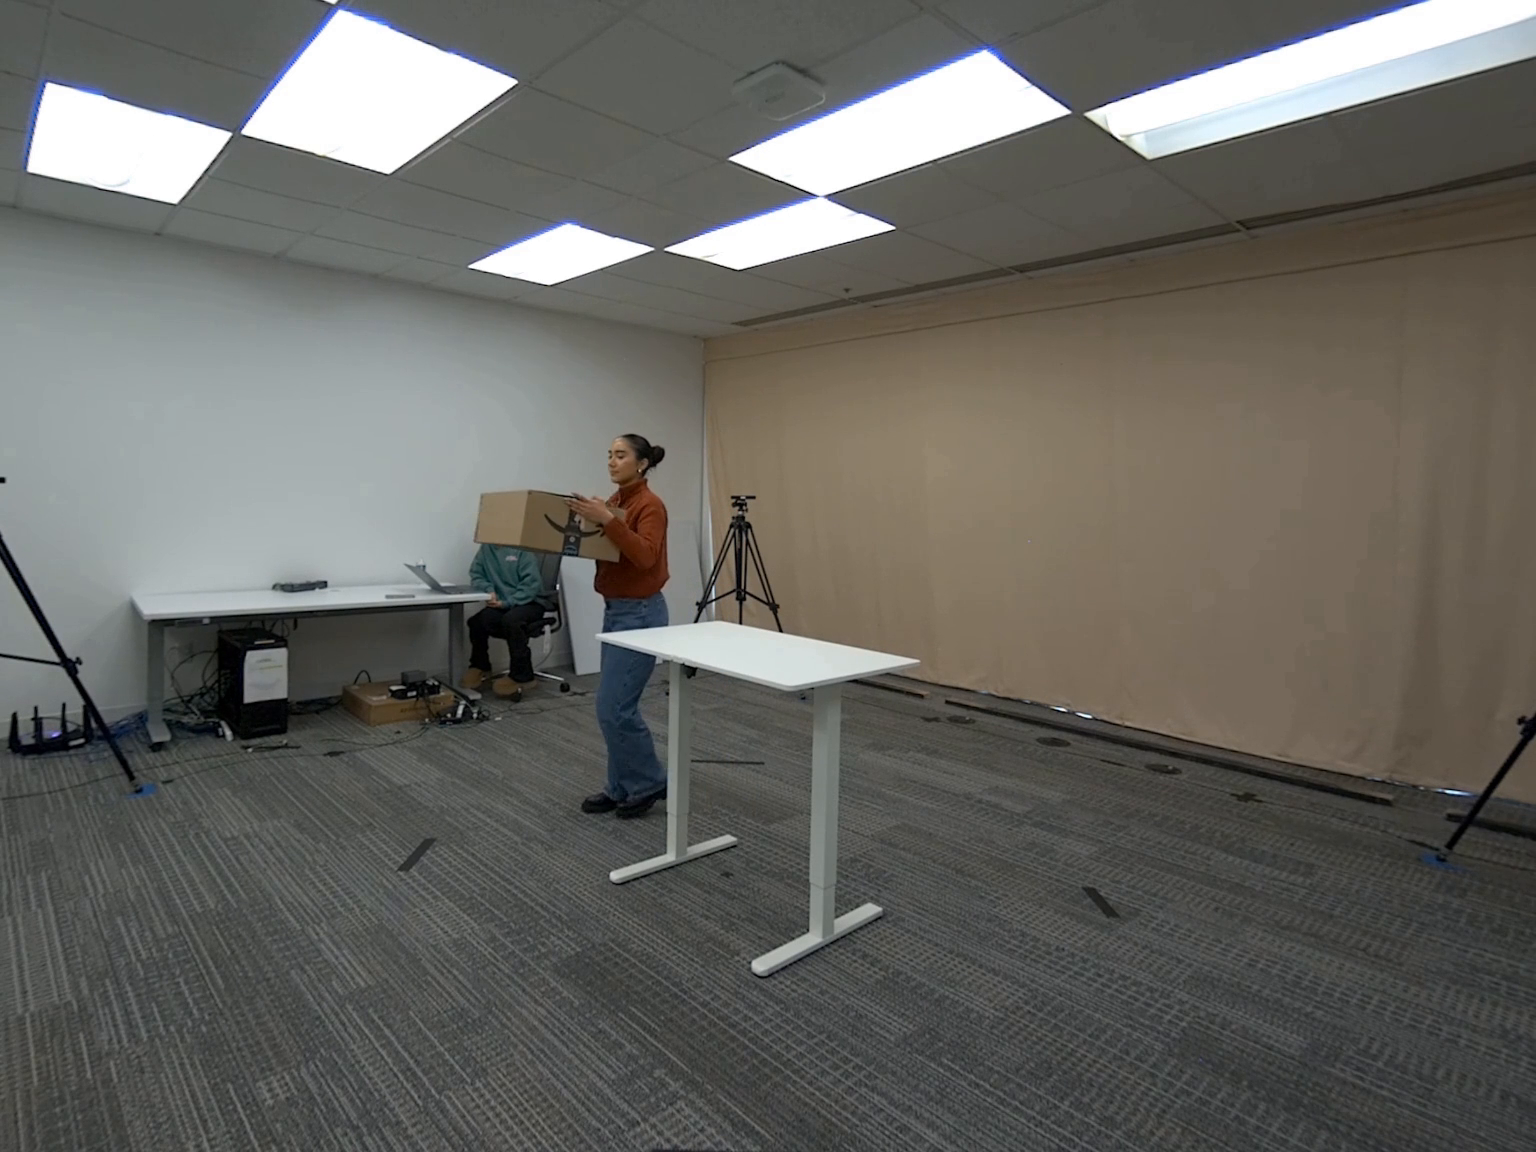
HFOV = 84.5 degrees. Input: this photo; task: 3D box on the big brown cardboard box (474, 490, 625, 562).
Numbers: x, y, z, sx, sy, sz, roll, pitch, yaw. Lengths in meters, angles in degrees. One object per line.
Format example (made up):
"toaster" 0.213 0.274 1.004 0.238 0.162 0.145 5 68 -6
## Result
"big brown cardboard box" -0.913 -0.207 3.472 0.407 0.233 0.603 9 -1 -36
